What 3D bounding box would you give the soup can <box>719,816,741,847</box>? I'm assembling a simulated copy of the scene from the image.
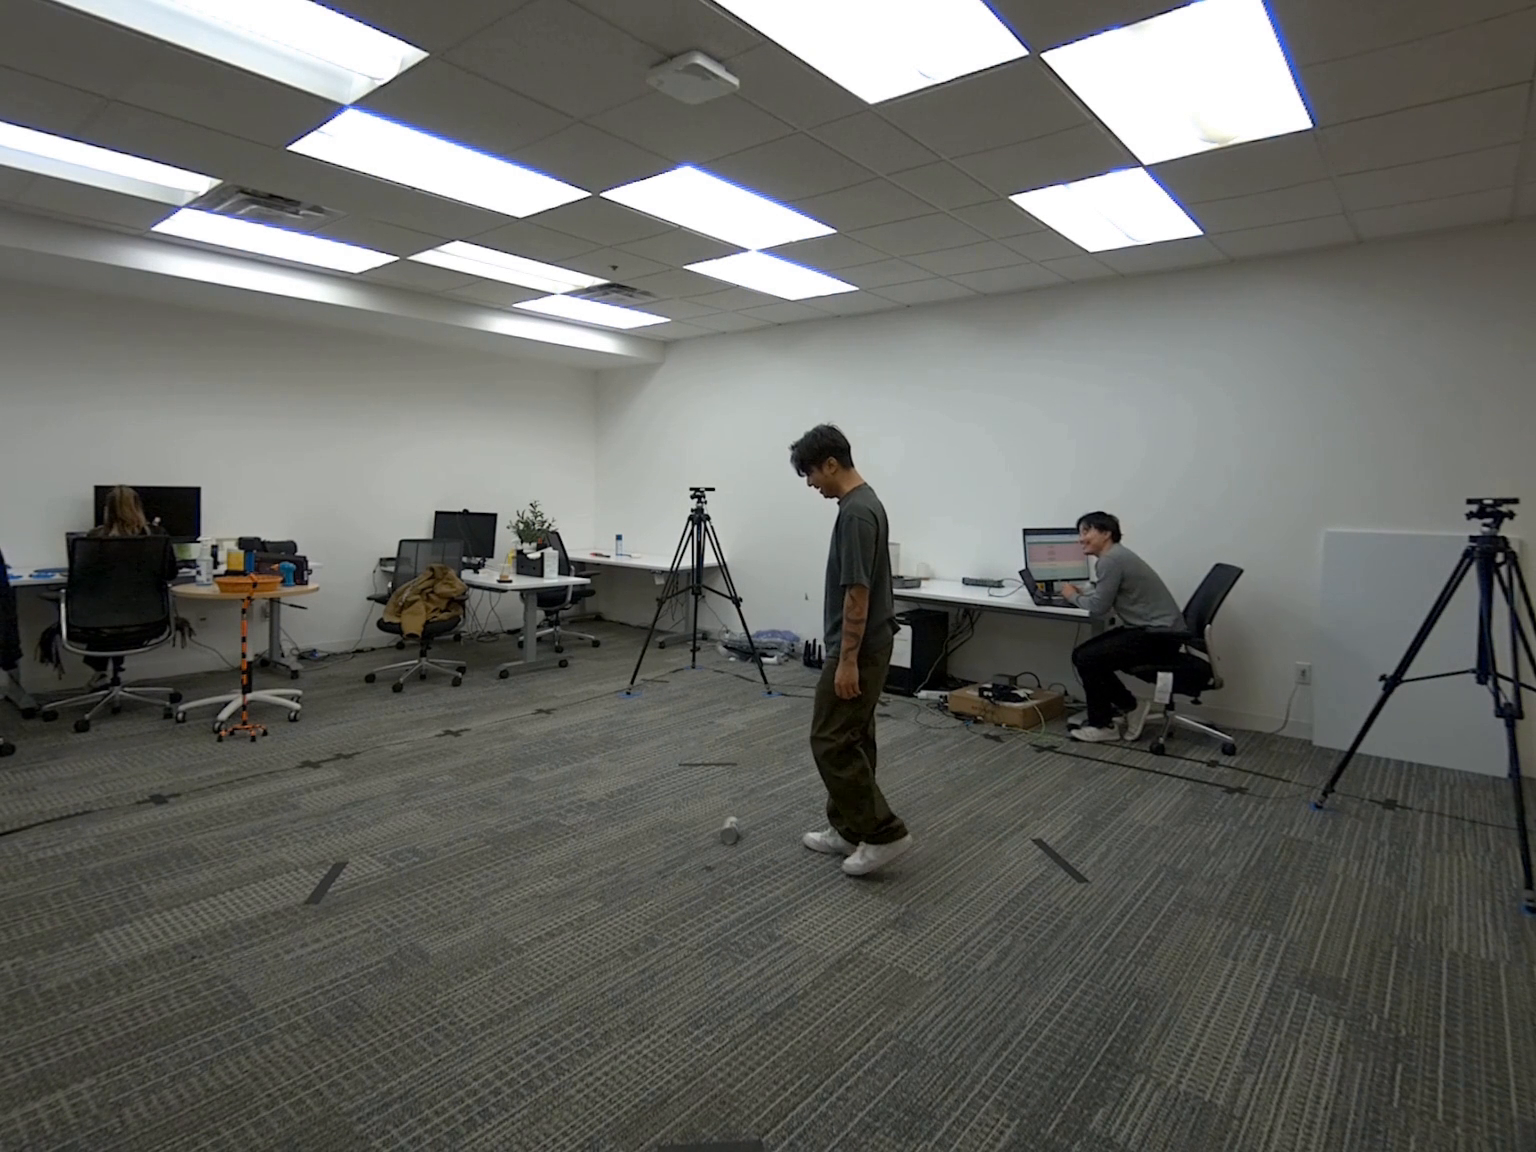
[{"bbox_3d":[-0.155,1.006,3.391,0.067,0.067,0.122,1,8,2],"label":"soup can"}]
